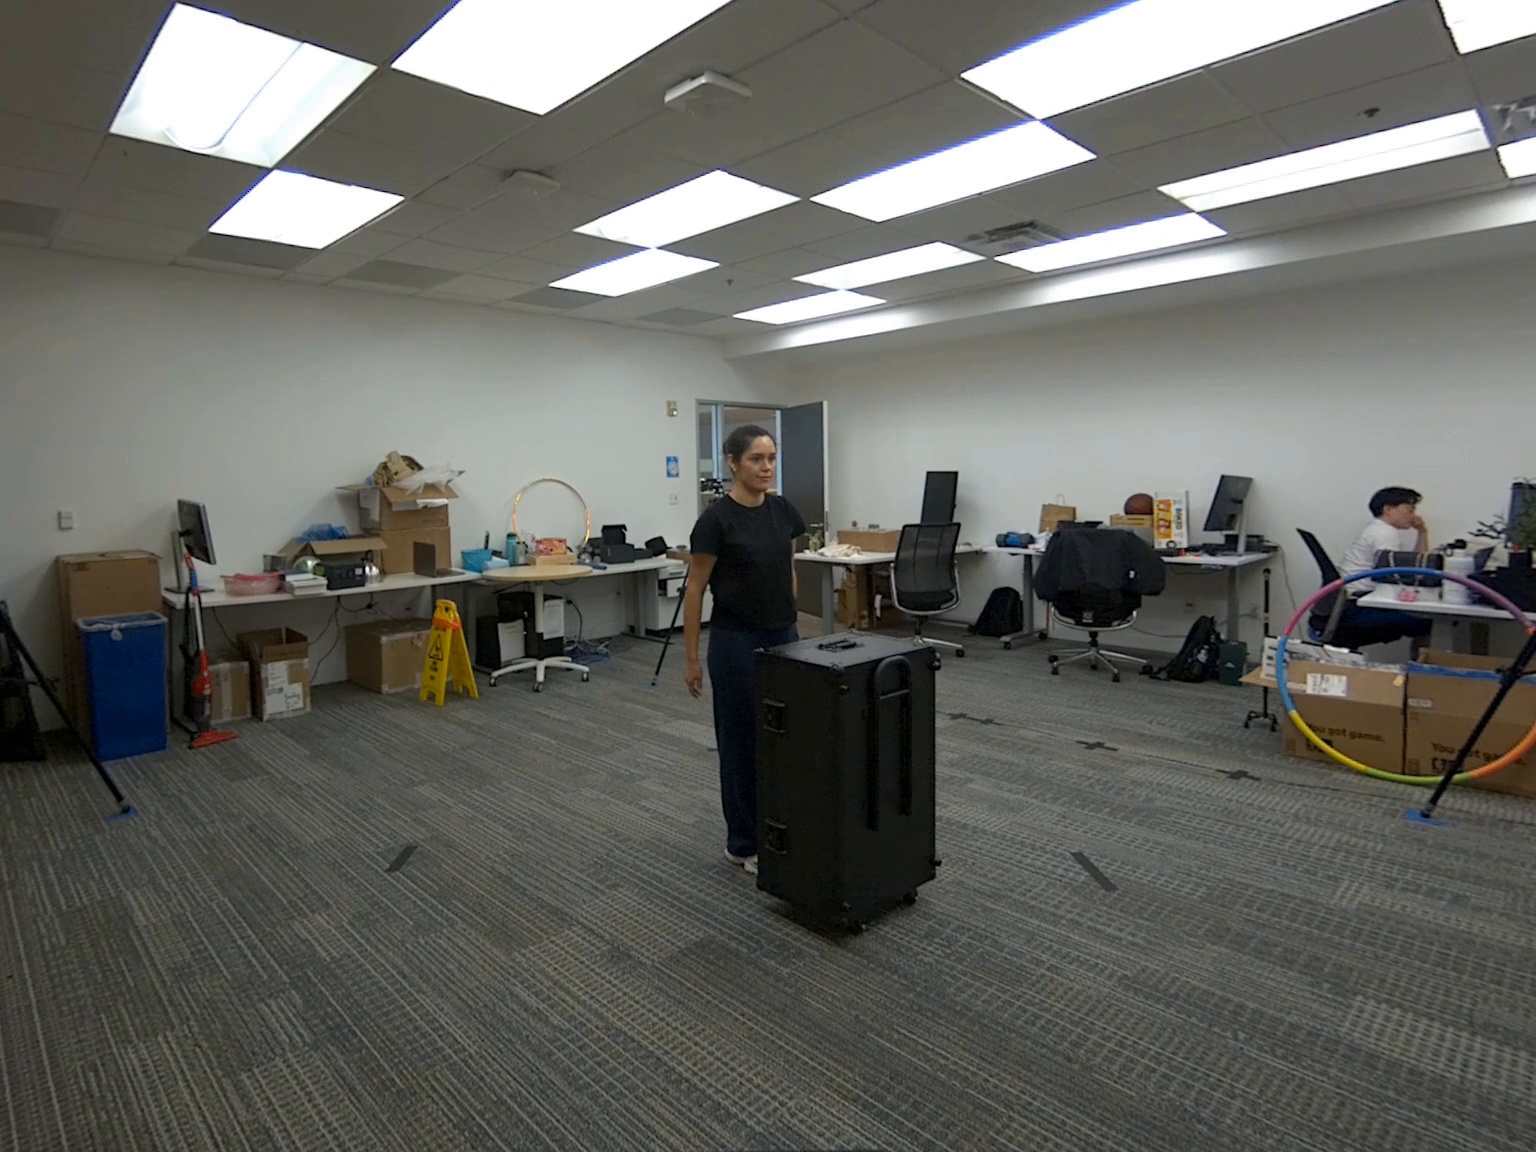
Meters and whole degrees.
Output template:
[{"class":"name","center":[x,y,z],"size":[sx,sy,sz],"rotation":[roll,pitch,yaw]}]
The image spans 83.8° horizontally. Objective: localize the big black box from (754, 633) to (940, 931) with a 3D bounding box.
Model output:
[{"class":"big black box","center":[0.264,0.652,2.776],"size":[0.507,0.857,0.409],"rotation":[-5,7,-42]}]
